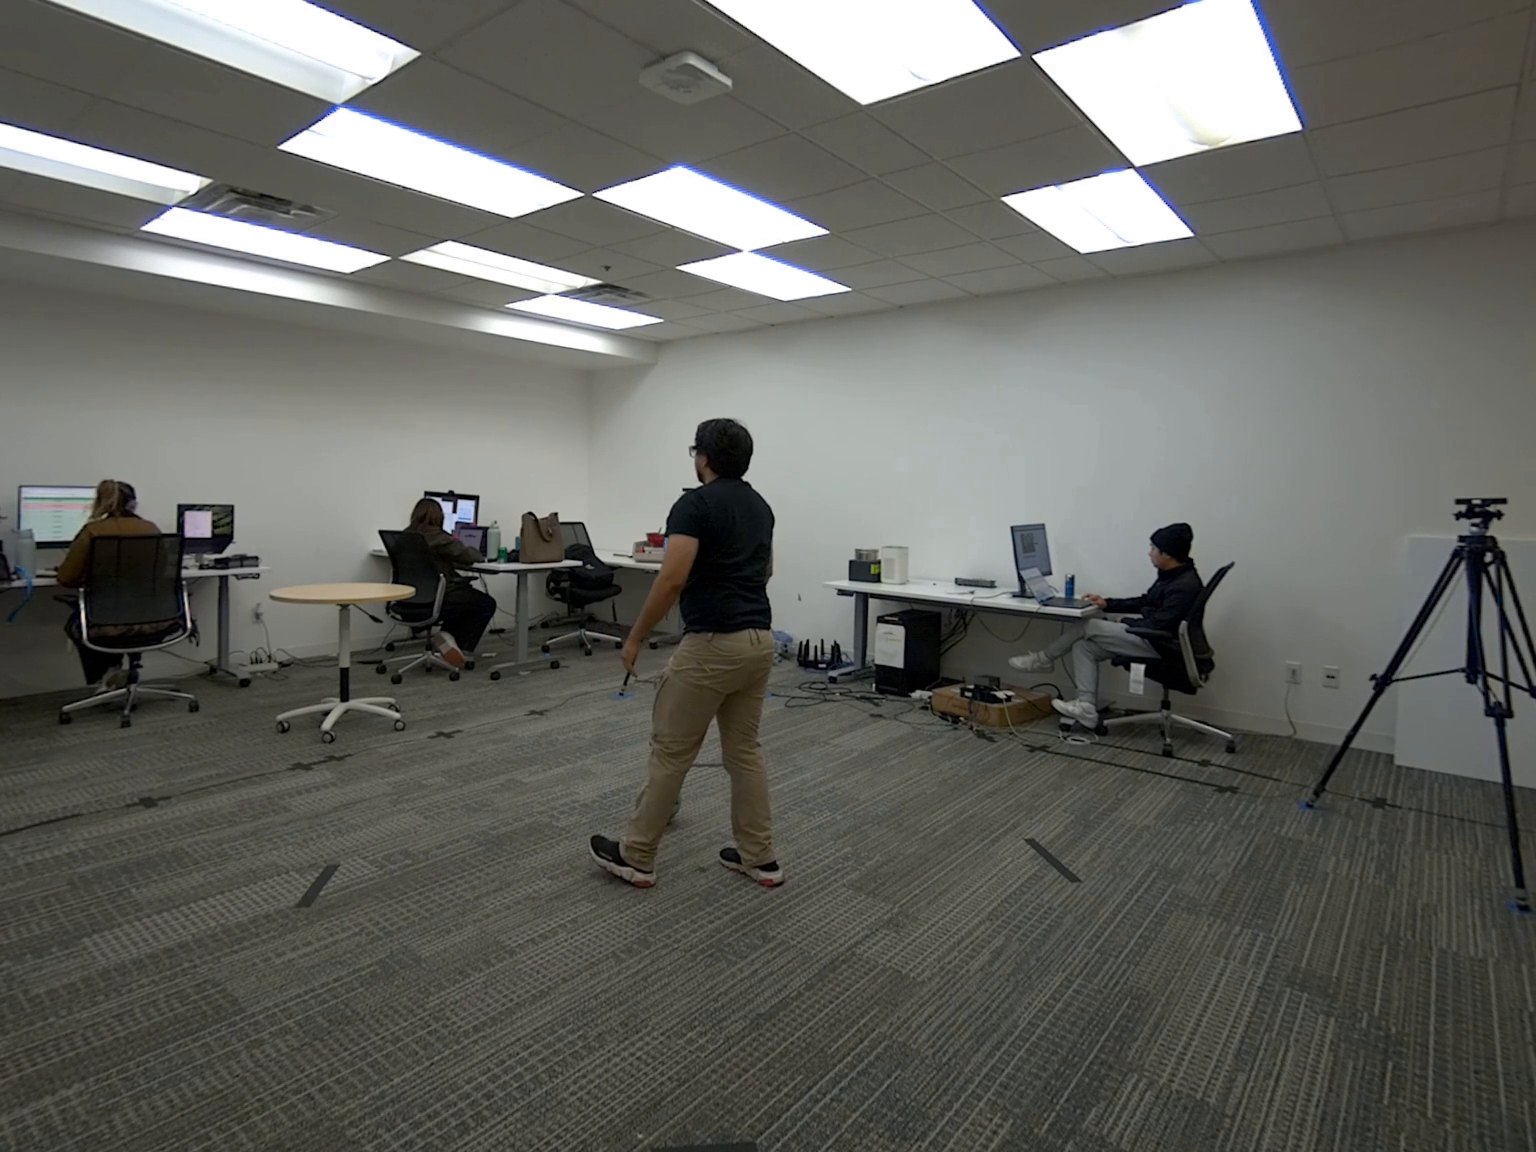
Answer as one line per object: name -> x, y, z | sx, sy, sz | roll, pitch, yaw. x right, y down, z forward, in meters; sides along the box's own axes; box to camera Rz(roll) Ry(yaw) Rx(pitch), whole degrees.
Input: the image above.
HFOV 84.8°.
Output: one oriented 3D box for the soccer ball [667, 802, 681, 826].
soccer ball -> -0.464, 0.927, 3.539 | 0.187, 0.187, 0.188 | 1, 4, -2
